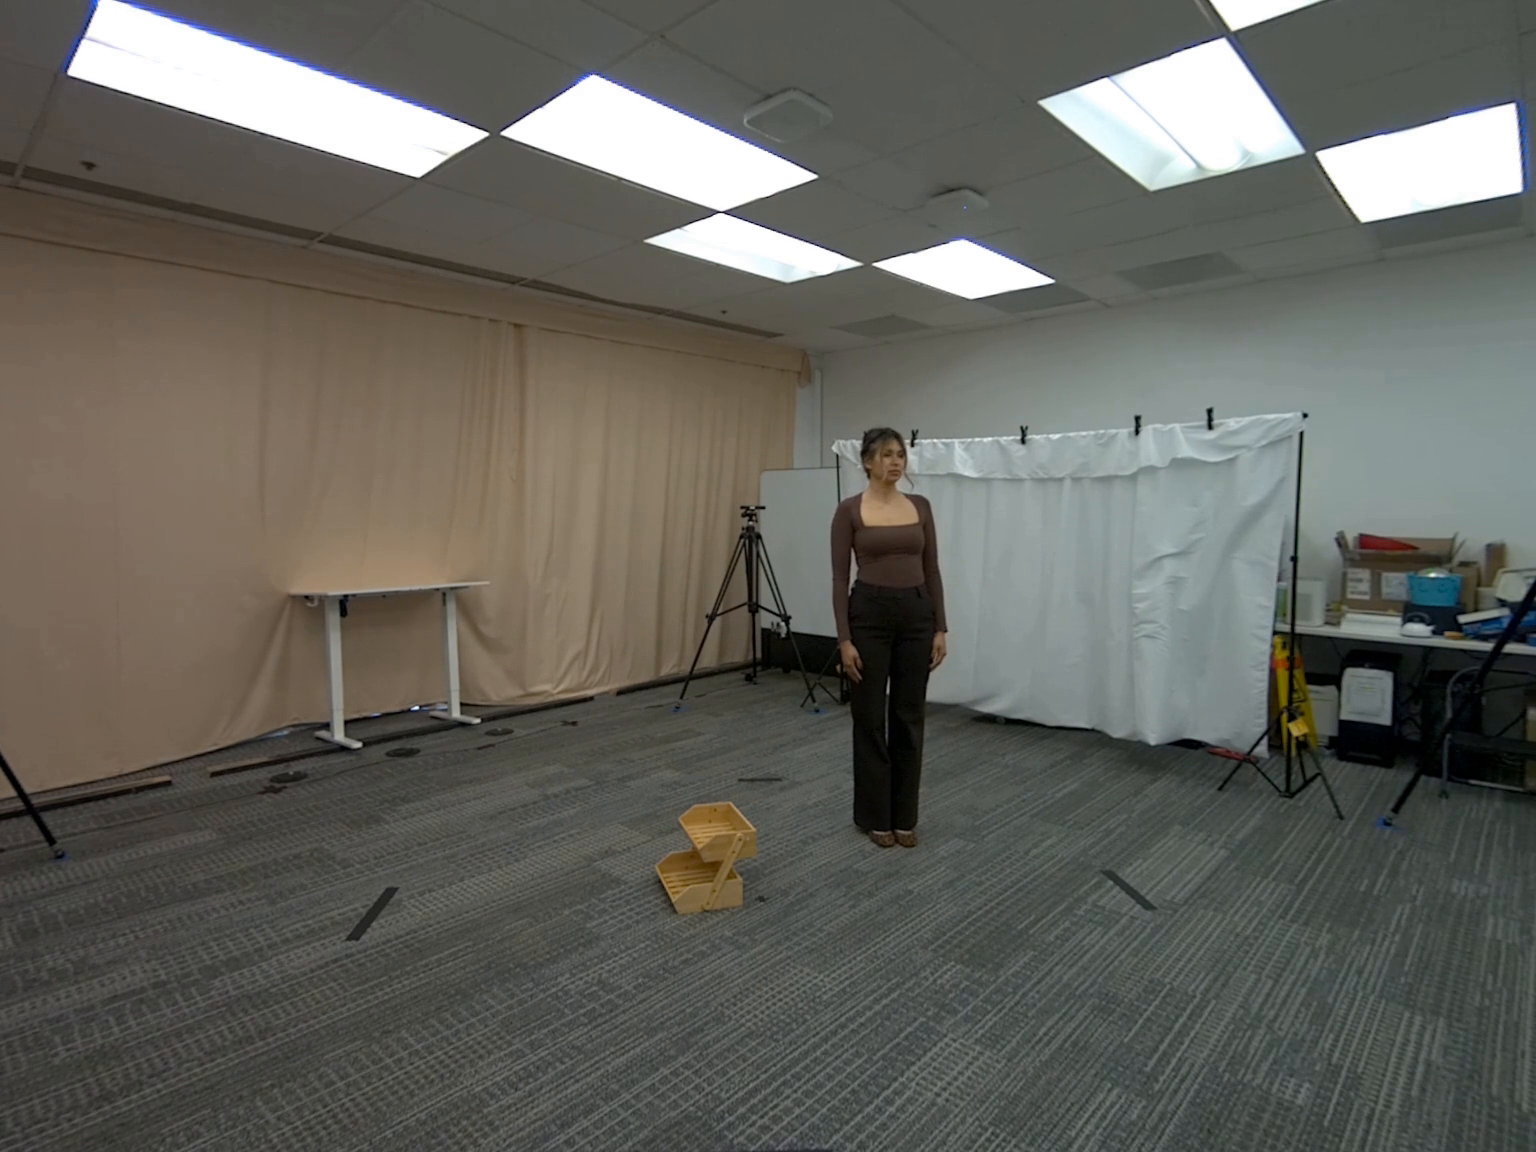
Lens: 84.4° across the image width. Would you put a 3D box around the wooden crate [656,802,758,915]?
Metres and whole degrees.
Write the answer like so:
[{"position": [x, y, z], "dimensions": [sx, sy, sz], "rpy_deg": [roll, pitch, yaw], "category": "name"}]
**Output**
[{"position": [-0.234, 1.006, 3.045], "dimensions": [0.296, 0.273, 0.331], "rpy_deg": [-2, 4, -18], "category": "wooden crate"}]
